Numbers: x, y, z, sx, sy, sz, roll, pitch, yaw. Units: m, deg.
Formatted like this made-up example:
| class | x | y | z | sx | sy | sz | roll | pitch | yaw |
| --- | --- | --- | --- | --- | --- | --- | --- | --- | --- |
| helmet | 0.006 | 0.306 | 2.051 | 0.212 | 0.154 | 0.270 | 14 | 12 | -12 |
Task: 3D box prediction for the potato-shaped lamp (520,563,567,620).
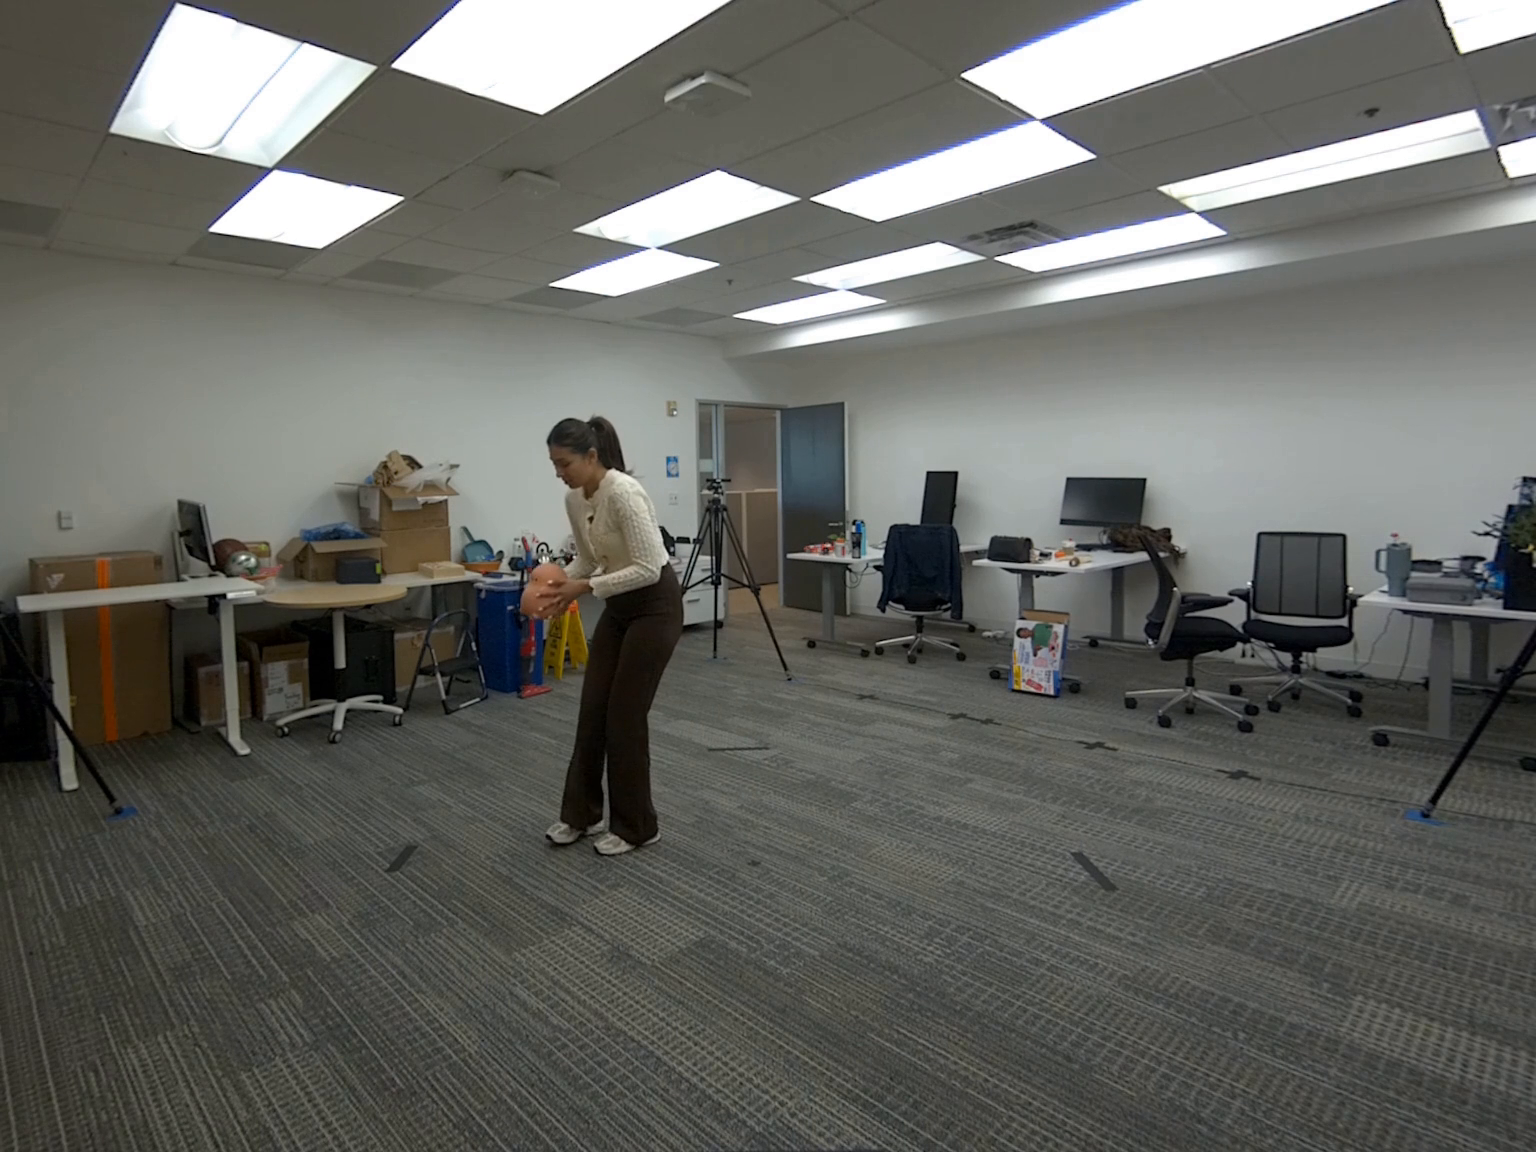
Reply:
| class | x | y | z | sx | sy | sz | roll | pitch | yaw |
| --- | --- | --- | --- | --- | --- | --- | --- | --- | --- |
| potato-shaped lamp | -0.802 | 0.062 | 3.097 | 0.166 | 0.197 | 0.170 | 2 | 6 | -43 |
